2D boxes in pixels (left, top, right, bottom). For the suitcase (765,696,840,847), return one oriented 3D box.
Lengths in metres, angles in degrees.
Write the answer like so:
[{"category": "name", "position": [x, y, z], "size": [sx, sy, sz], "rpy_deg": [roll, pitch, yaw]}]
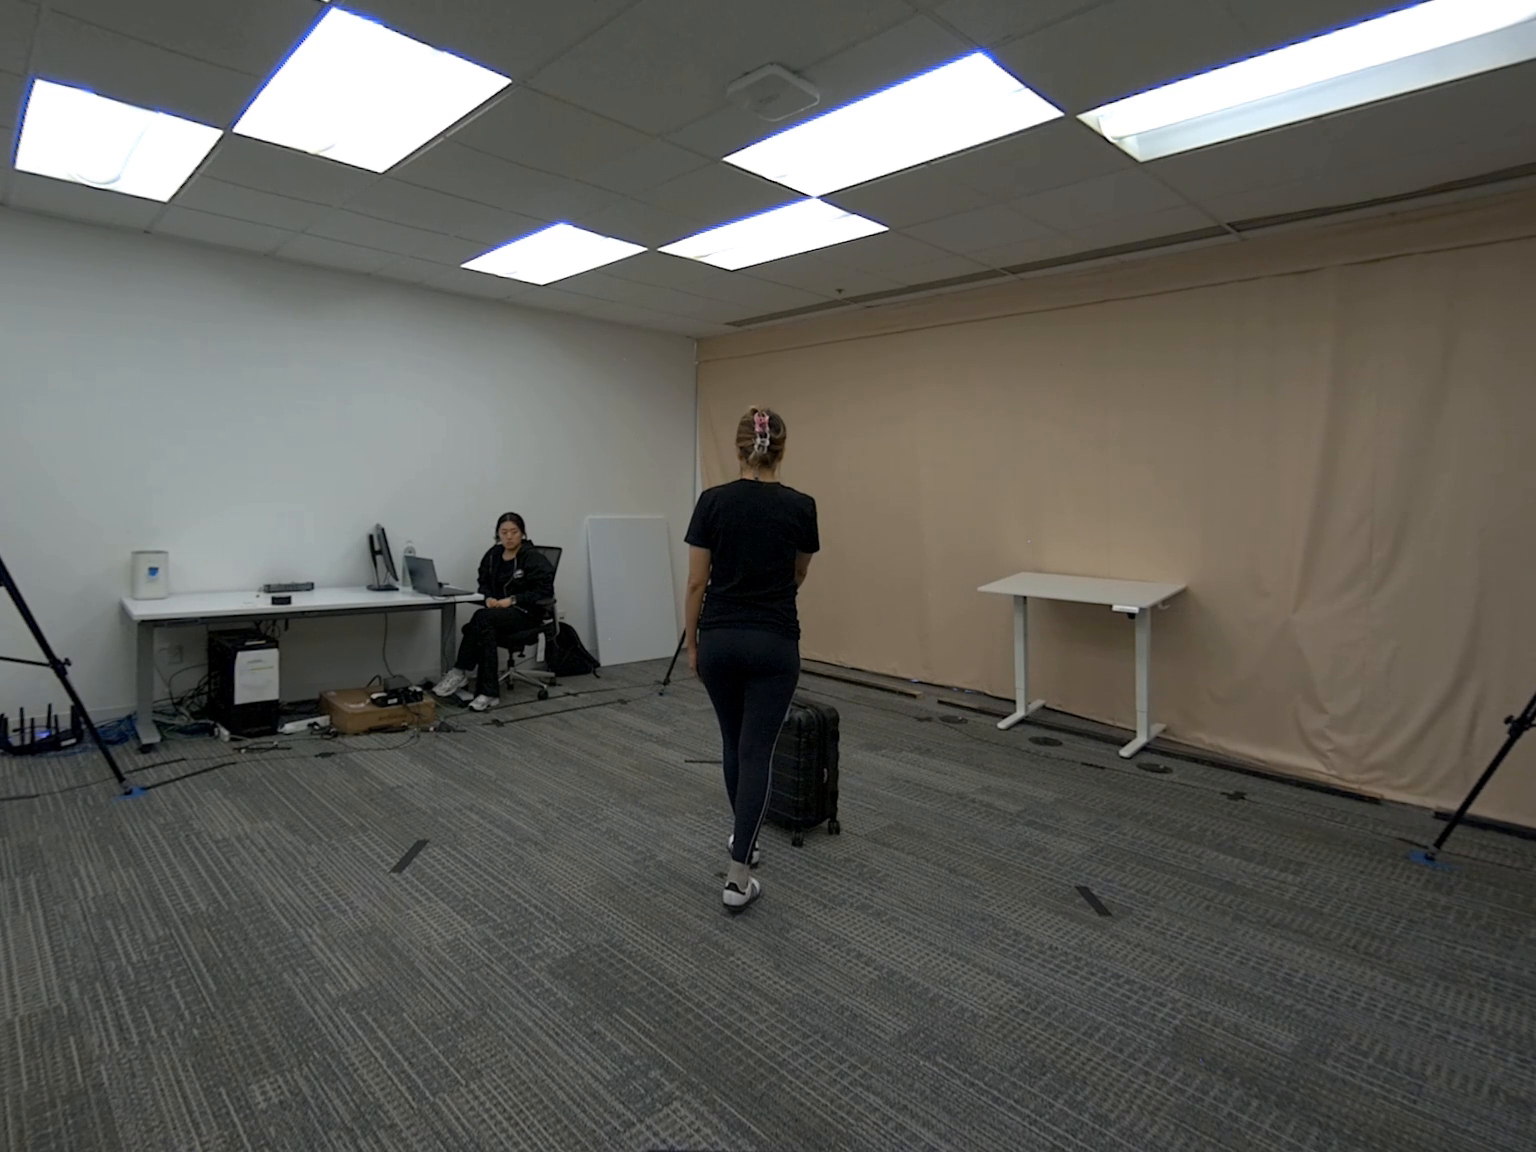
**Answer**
[{"category": "suitcase", "position": [0.110, 0.591, 3.579], "size": [0.251, 0.979, 0.393], "rpy_deg": [2, 0, -44]}]
